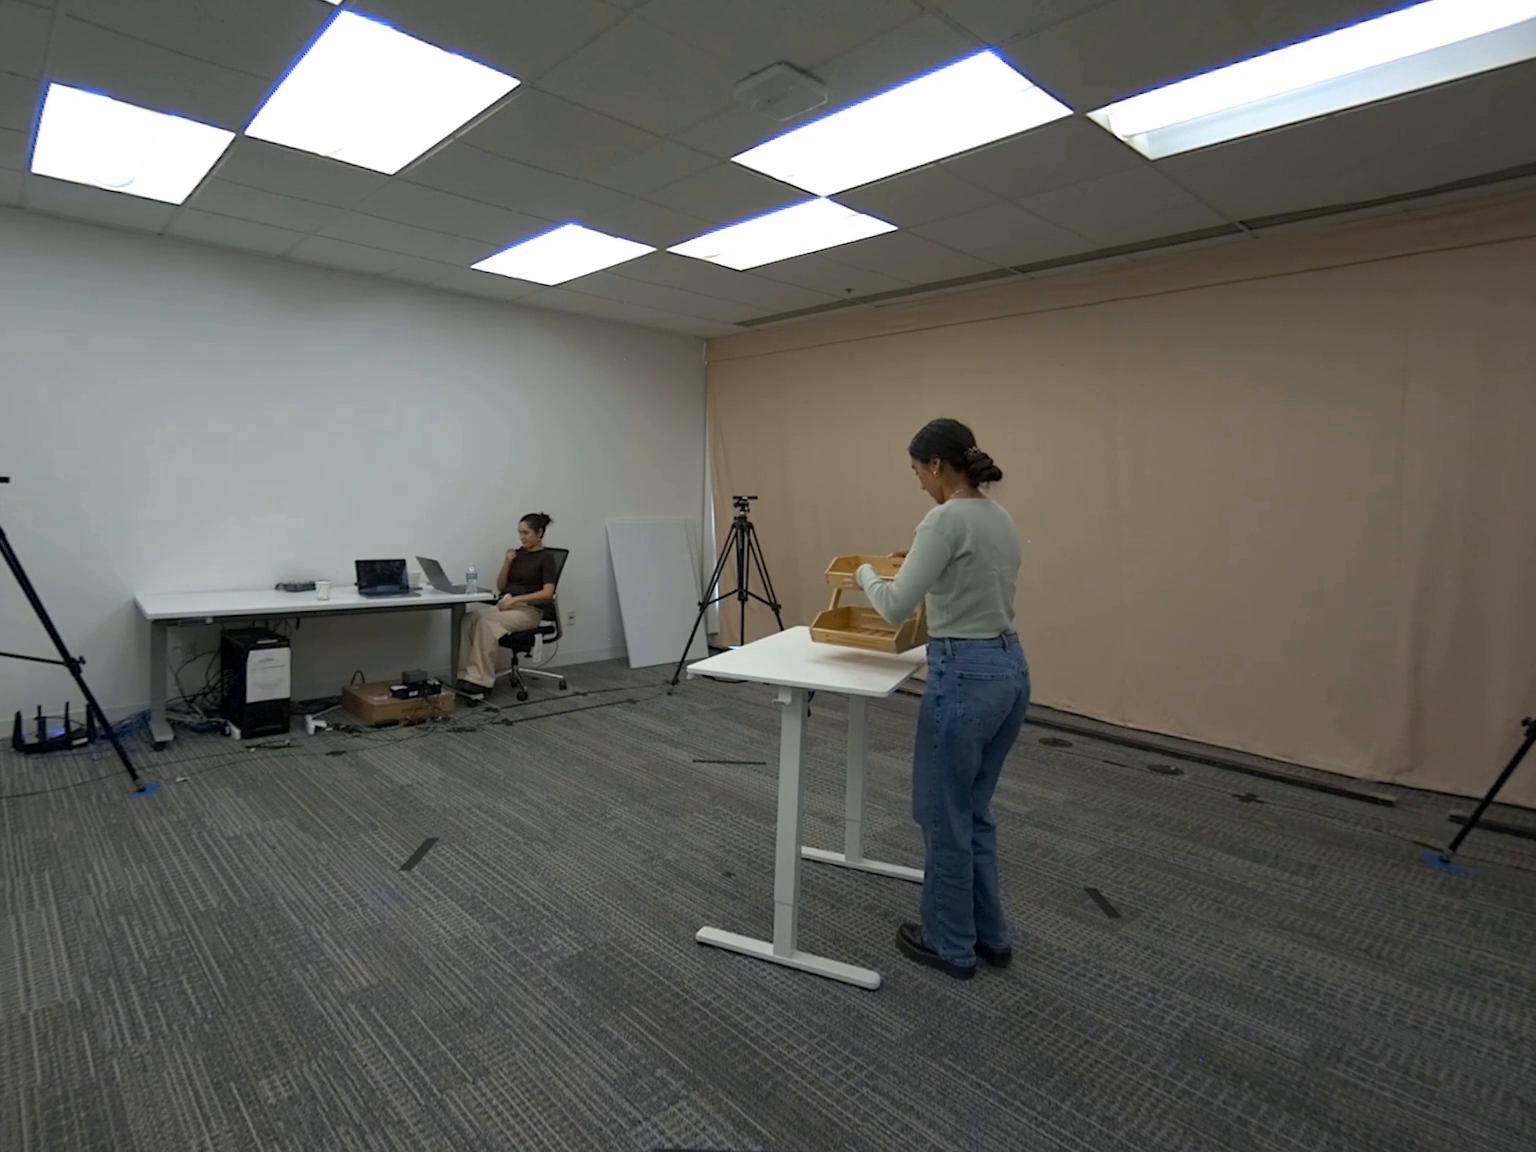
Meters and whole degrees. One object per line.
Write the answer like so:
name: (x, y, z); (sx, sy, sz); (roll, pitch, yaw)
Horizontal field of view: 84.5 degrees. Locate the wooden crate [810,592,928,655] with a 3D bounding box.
wooden crate: (0.325, 0.076, 2.684); (0.332, 0.272, 0.296); (5, 7, 37)
